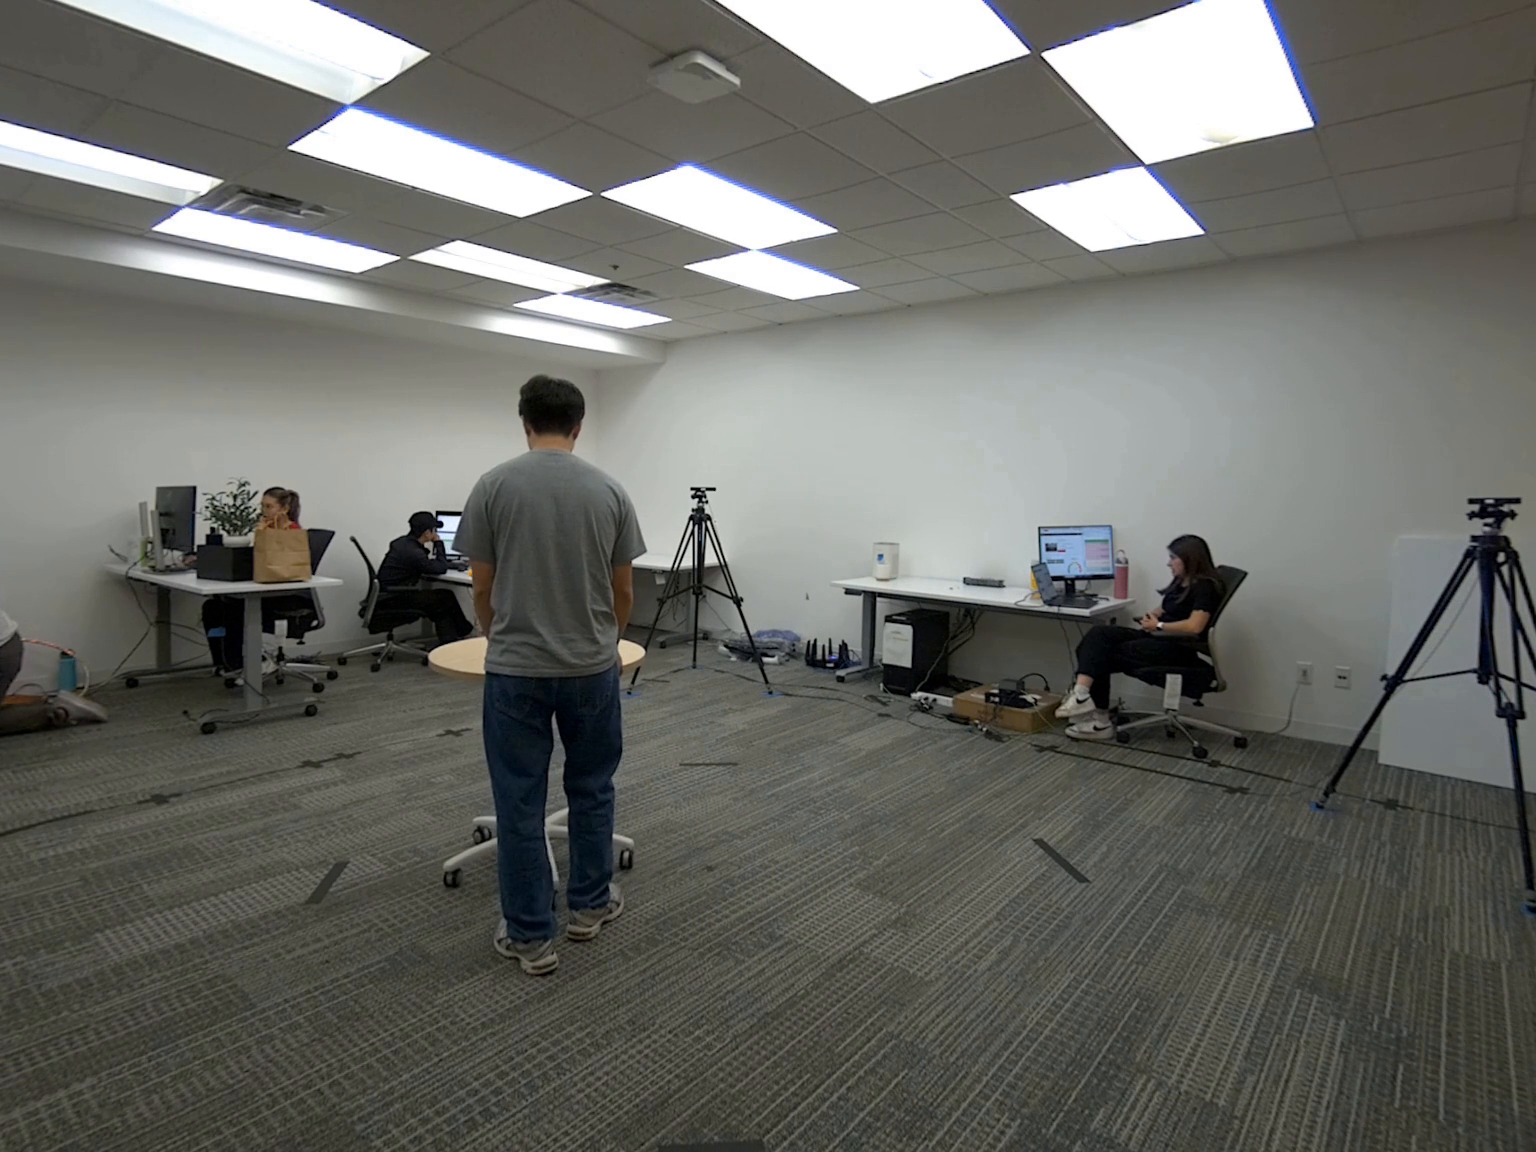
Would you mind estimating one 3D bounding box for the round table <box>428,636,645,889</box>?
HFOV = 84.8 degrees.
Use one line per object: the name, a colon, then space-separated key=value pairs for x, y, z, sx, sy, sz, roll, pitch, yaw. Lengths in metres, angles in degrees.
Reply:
round table: x=-0.848 y=0.665 z=3.099 sx=0.763 sy=0.791 sz=0.768 roll=1 pitch=4 yaw=-2
